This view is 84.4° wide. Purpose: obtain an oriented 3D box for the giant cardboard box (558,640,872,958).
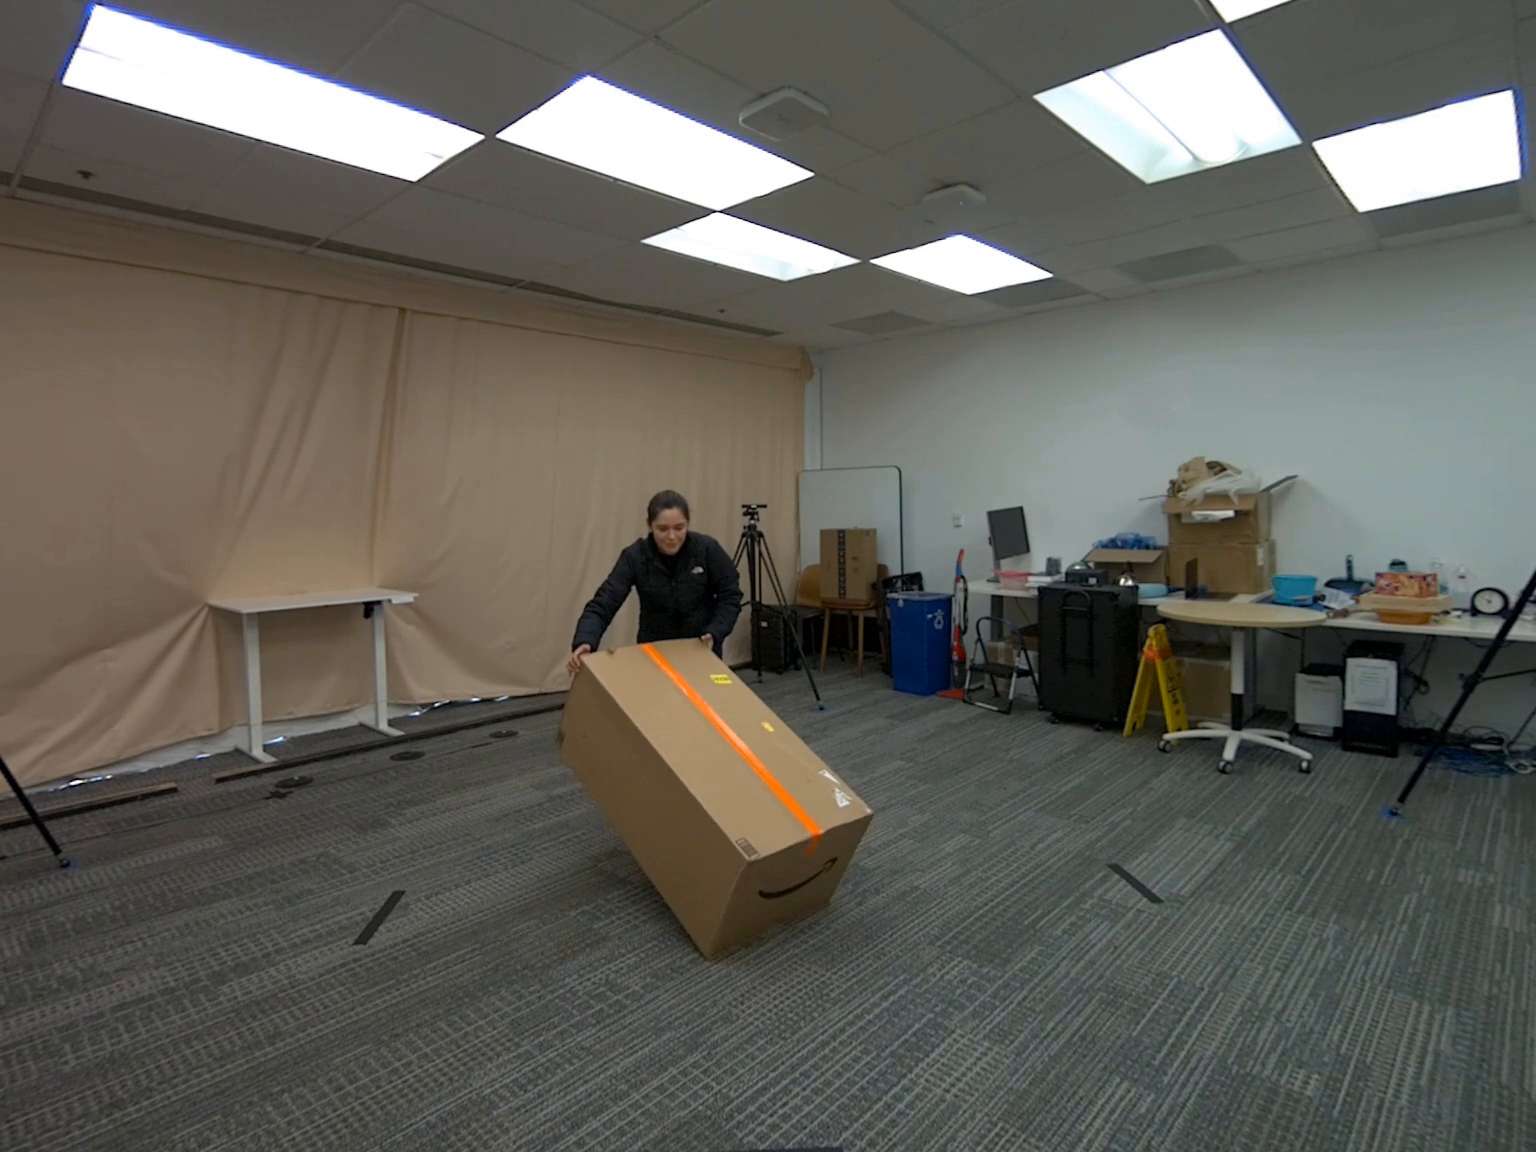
[{"bbox_3d":[-0.216,0.718,2.992,0.560,0.424,1.063,-4,33,-43],"label":"giant cardboard box"}]
